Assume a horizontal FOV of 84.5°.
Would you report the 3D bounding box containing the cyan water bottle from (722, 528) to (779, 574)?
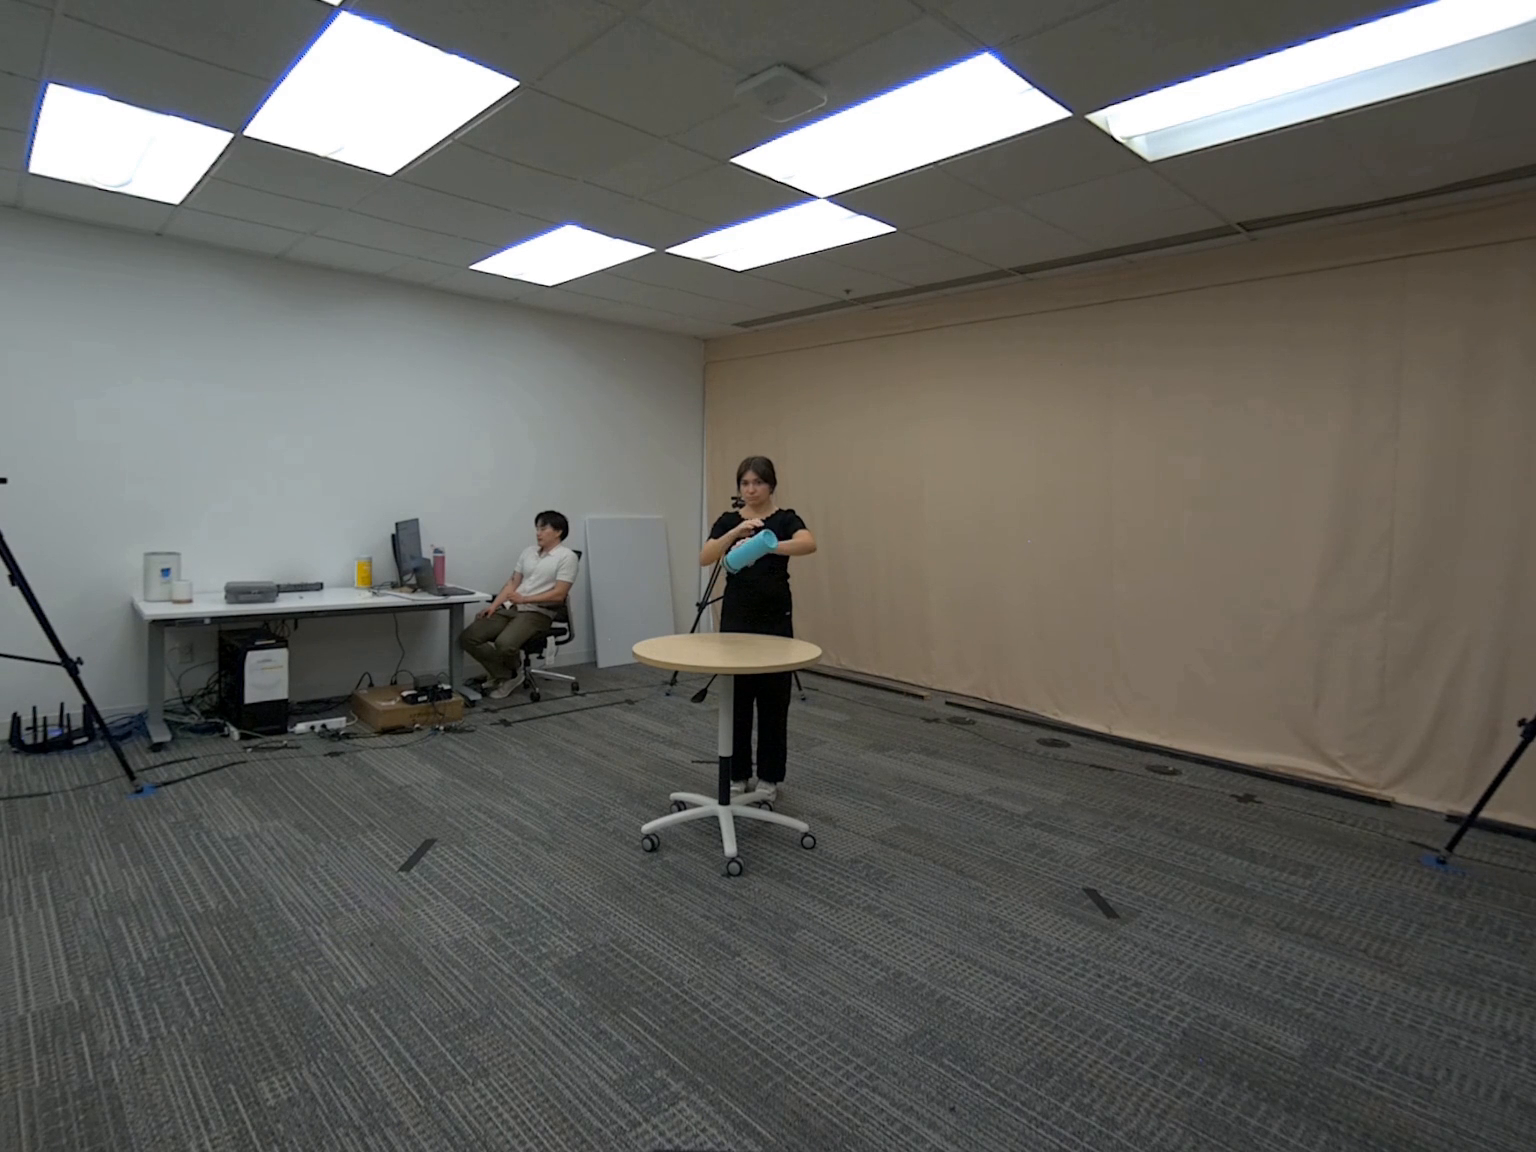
[{"bbox_3d":[-0.095,-0.091,3.530,0.090,0.094,0.285,-3,-23,-48],"label":"cyan water bottle"}]
